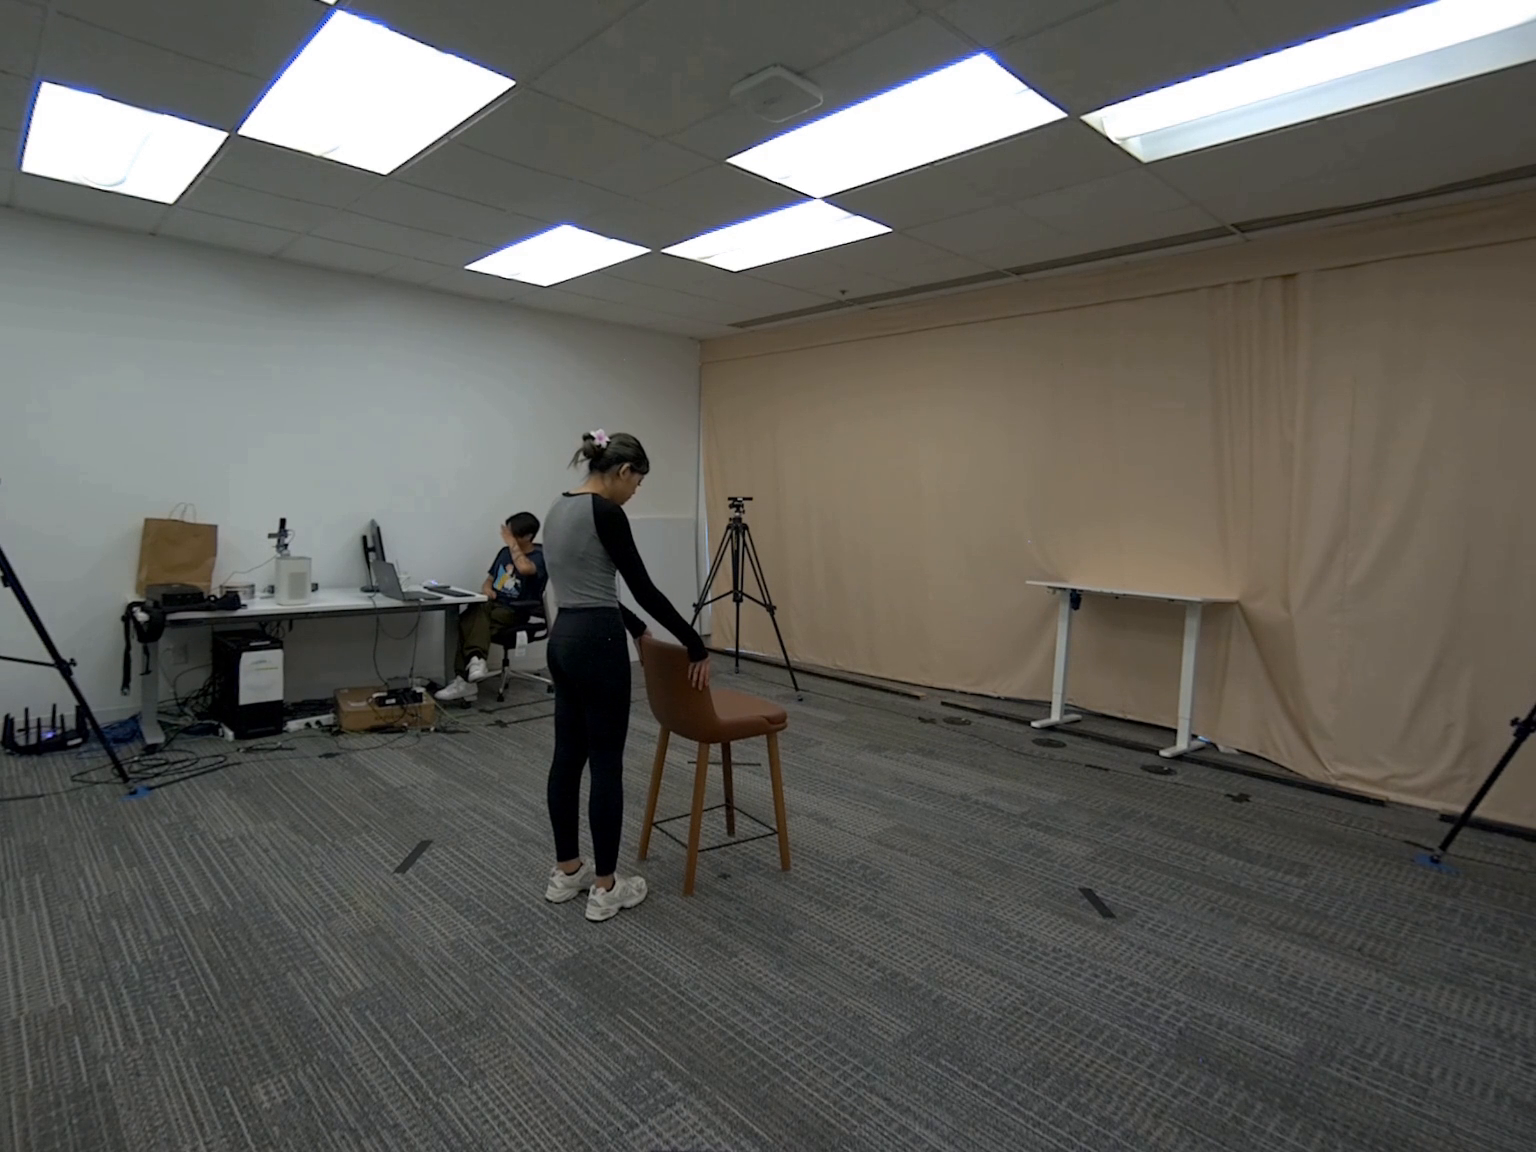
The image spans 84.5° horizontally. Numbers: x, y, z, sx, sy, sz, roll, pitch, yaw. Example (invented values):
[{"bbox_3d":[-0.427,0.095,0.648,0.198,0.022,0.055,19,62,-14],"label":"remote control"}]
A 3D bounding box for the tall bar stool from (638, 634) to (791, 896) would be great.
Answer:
[{"bbox_3d":[-0.217,0.661,3.182,0.458,0.886,0.468,-4,6,-35],"label":"tall bar stool"}]
